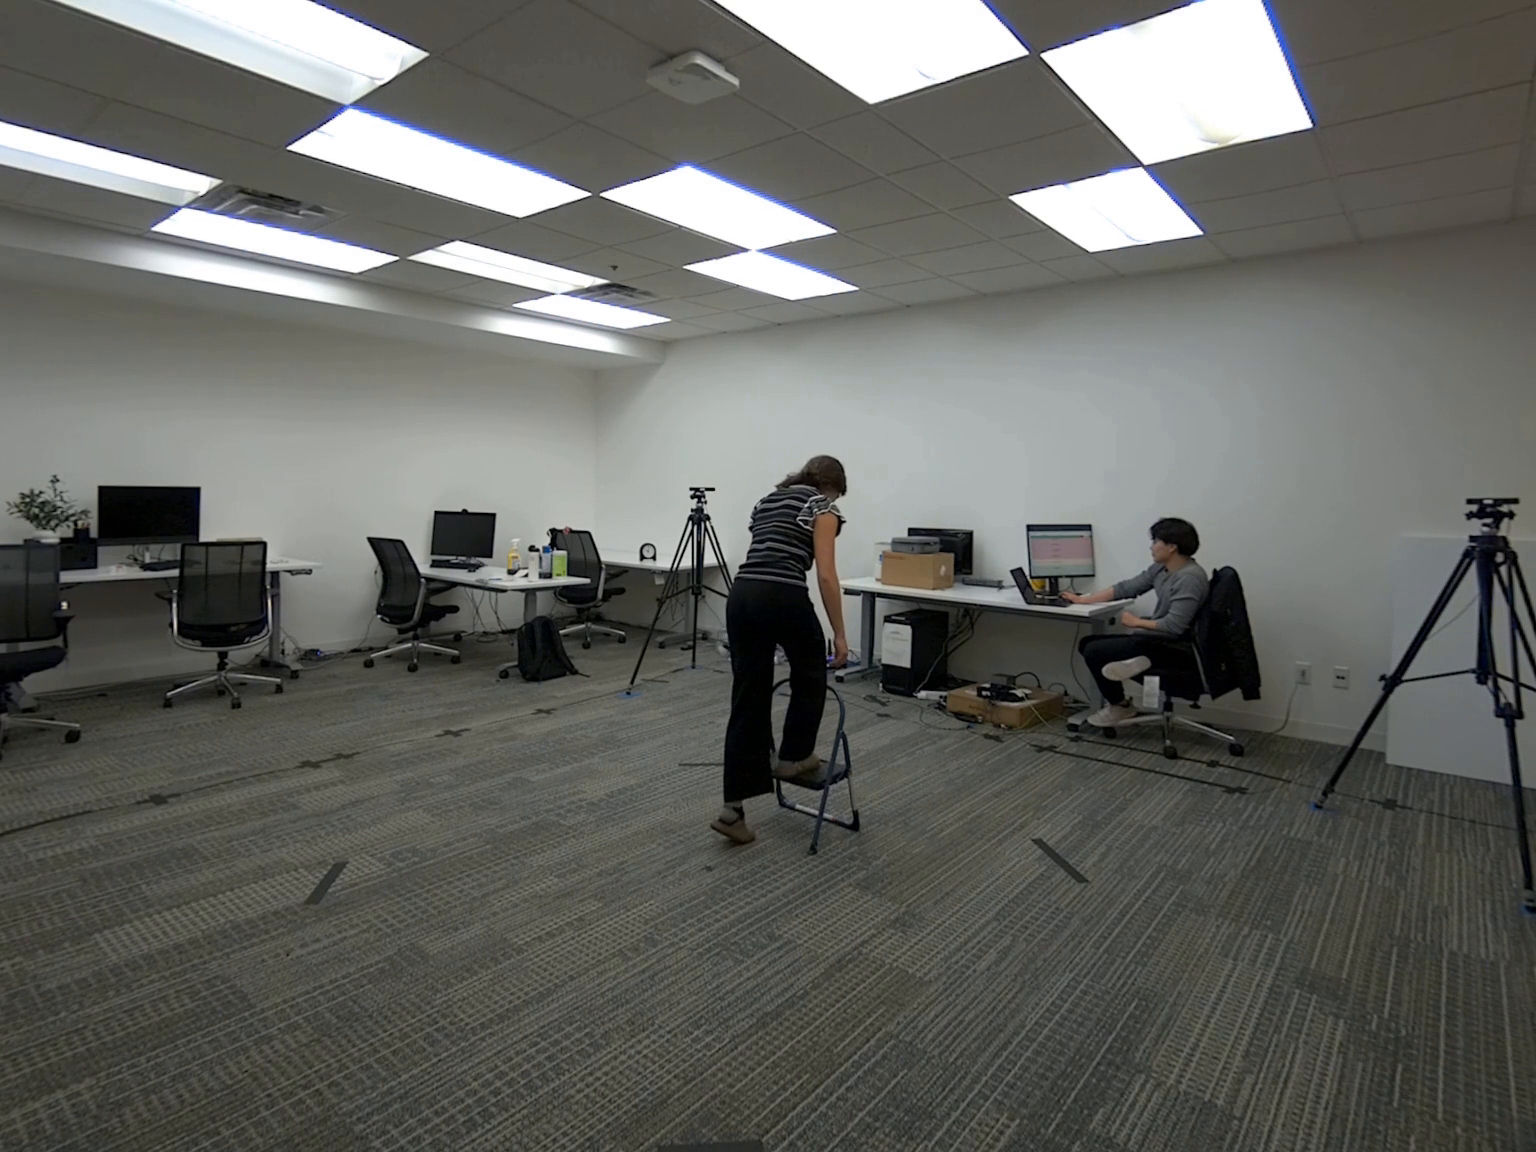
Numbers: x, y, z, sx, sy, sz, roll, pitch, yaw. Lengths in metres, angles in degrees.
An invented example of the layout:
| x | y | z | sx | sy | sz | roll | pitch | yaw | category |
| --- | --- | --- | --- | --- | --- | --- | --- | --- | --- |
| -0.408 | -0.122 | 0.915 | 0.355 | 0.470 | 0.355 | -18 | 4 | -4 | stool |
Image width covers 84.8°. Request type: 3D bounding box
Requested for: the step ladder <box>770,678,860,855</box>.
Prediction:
| x | y | z | sx | sy | sz | roll | pitch | yaw | category |
| --- | --- | --- | --- | --- | --- | --- | --- | --- | --- |
| 0.114 | 0.735 | 3.495 | 0.445 | 0.604 | 0.339 | 4 | 4 | 39 | step ladder |
